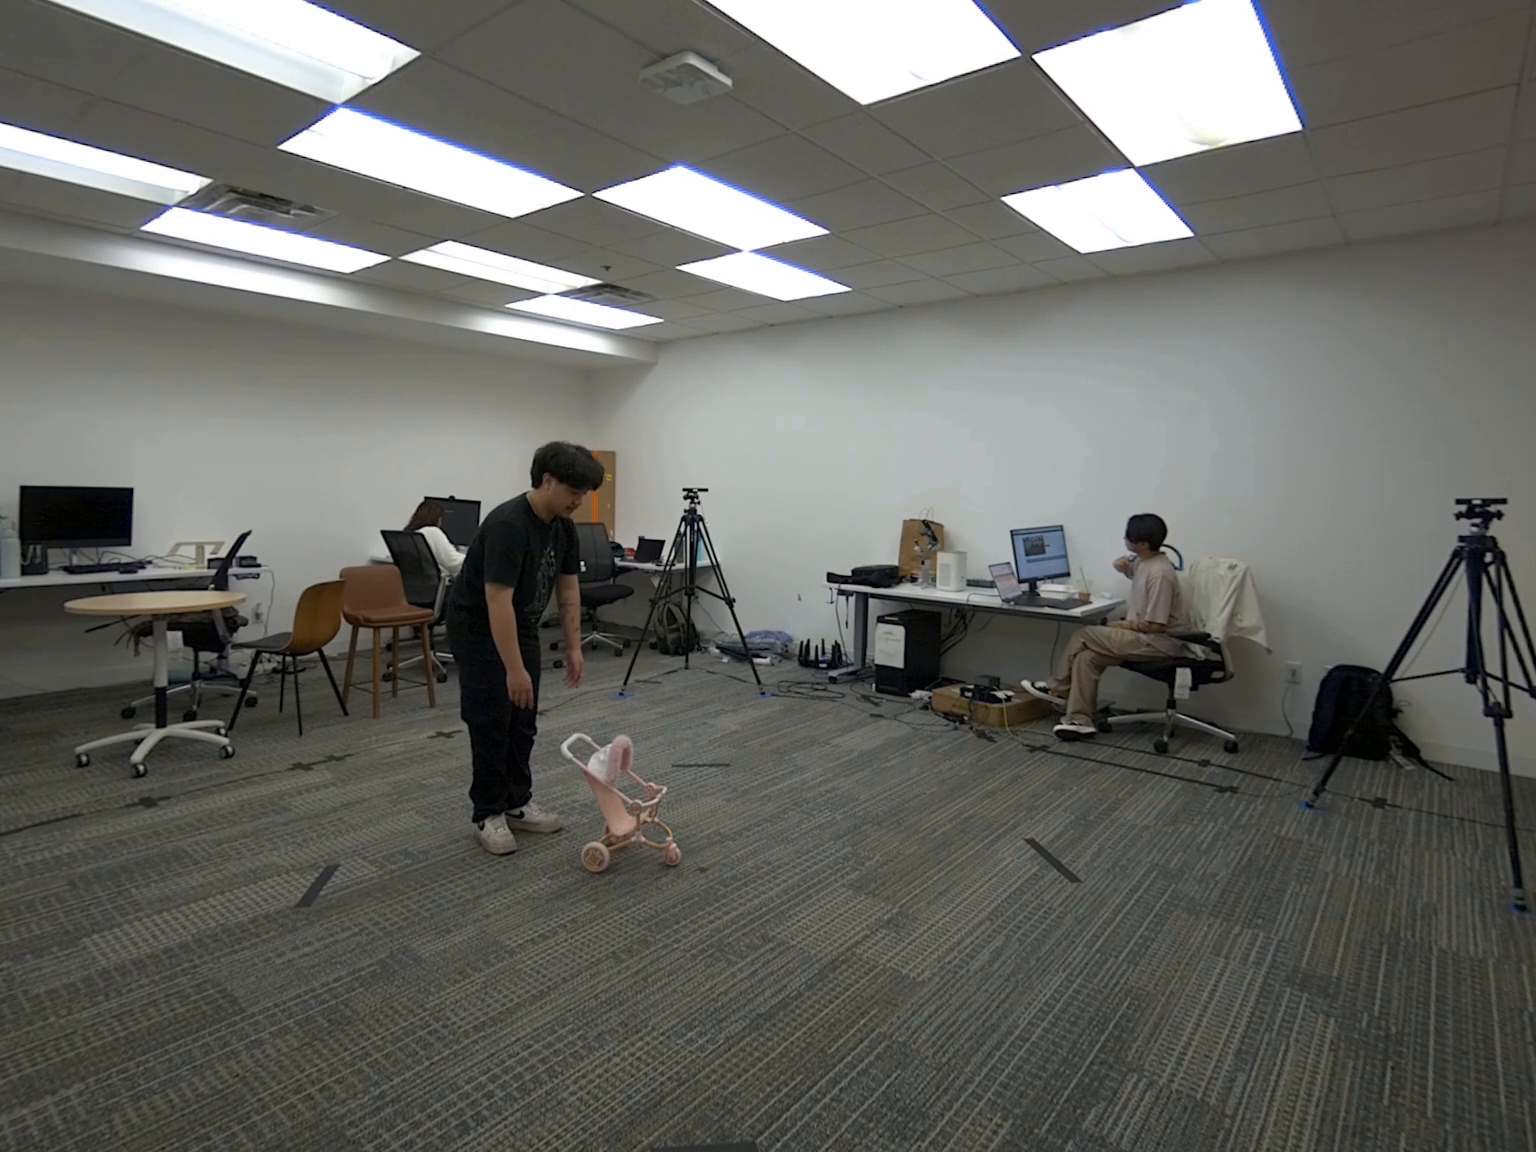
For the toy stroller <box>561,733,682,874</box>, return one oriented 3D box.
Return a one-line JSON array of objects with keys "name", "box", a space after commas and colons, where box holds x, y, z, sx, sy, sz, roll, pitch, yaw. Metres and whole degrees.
[{"name": "toy stroller", "box": [-0.549, 0.834, 3.163, 0.346, 0.536, 0.277, -14, 0, 16]}]
